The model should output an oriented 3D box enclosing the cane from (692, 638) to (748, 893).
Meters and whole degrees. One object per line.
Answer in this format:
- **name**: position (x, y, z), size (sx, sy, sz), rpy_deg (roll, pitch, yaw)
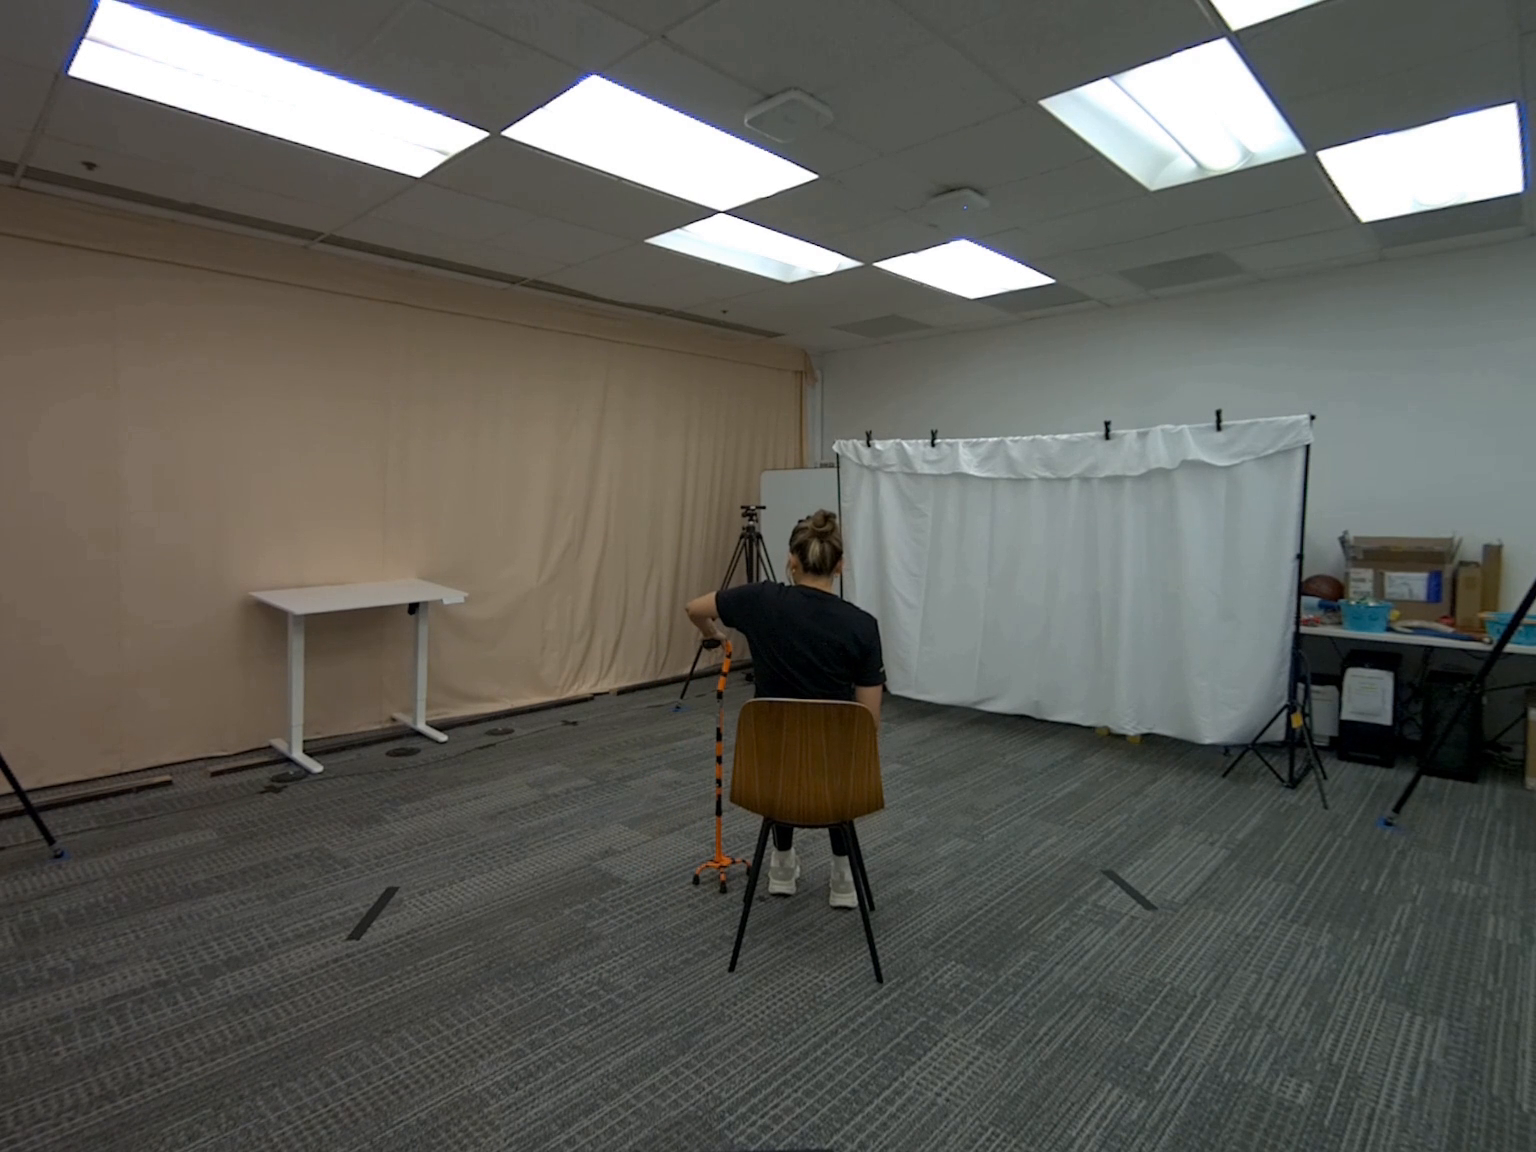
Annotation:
- **cane**: position (-0.169, 0.686, 3.114), size (0.156, 0.905, 0.200), rpy_deg (3, 6, 36)
